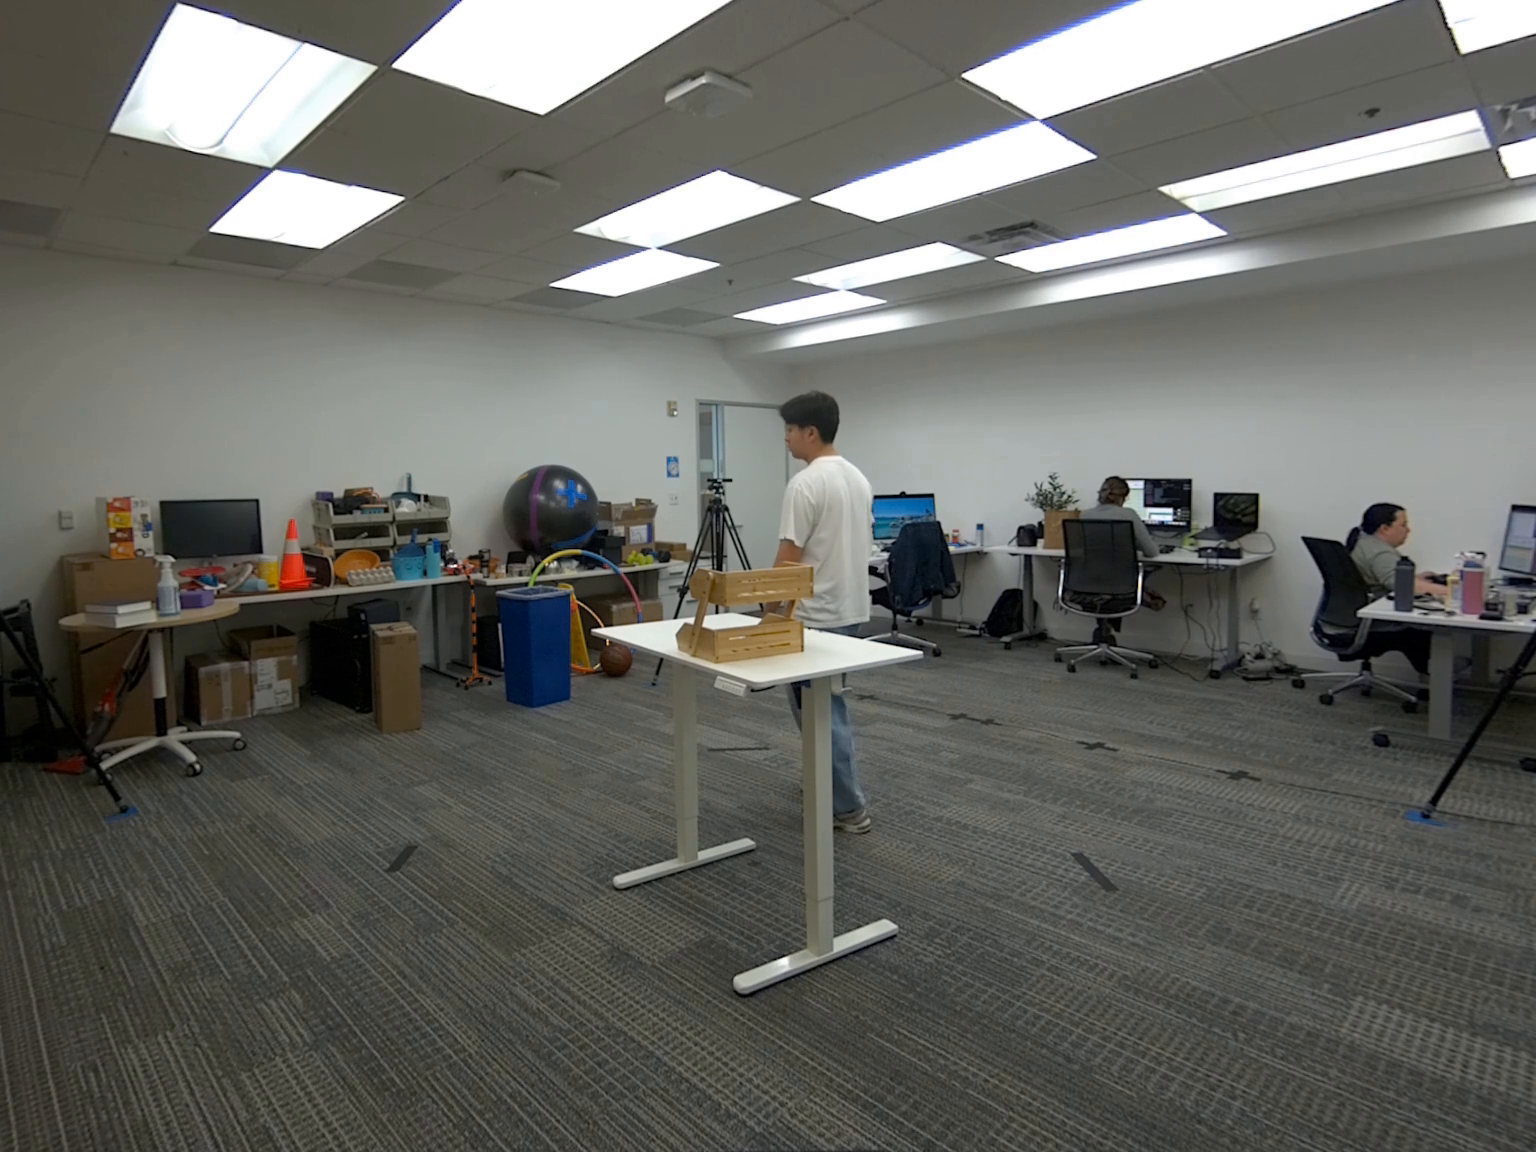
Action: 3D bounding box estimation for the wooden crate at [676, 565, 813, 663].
[{"bbox_3d":[-0.069,0.094,2.529,0.317,0.272,0.311,-5,7,-32],"label":"wooden crate"}]
